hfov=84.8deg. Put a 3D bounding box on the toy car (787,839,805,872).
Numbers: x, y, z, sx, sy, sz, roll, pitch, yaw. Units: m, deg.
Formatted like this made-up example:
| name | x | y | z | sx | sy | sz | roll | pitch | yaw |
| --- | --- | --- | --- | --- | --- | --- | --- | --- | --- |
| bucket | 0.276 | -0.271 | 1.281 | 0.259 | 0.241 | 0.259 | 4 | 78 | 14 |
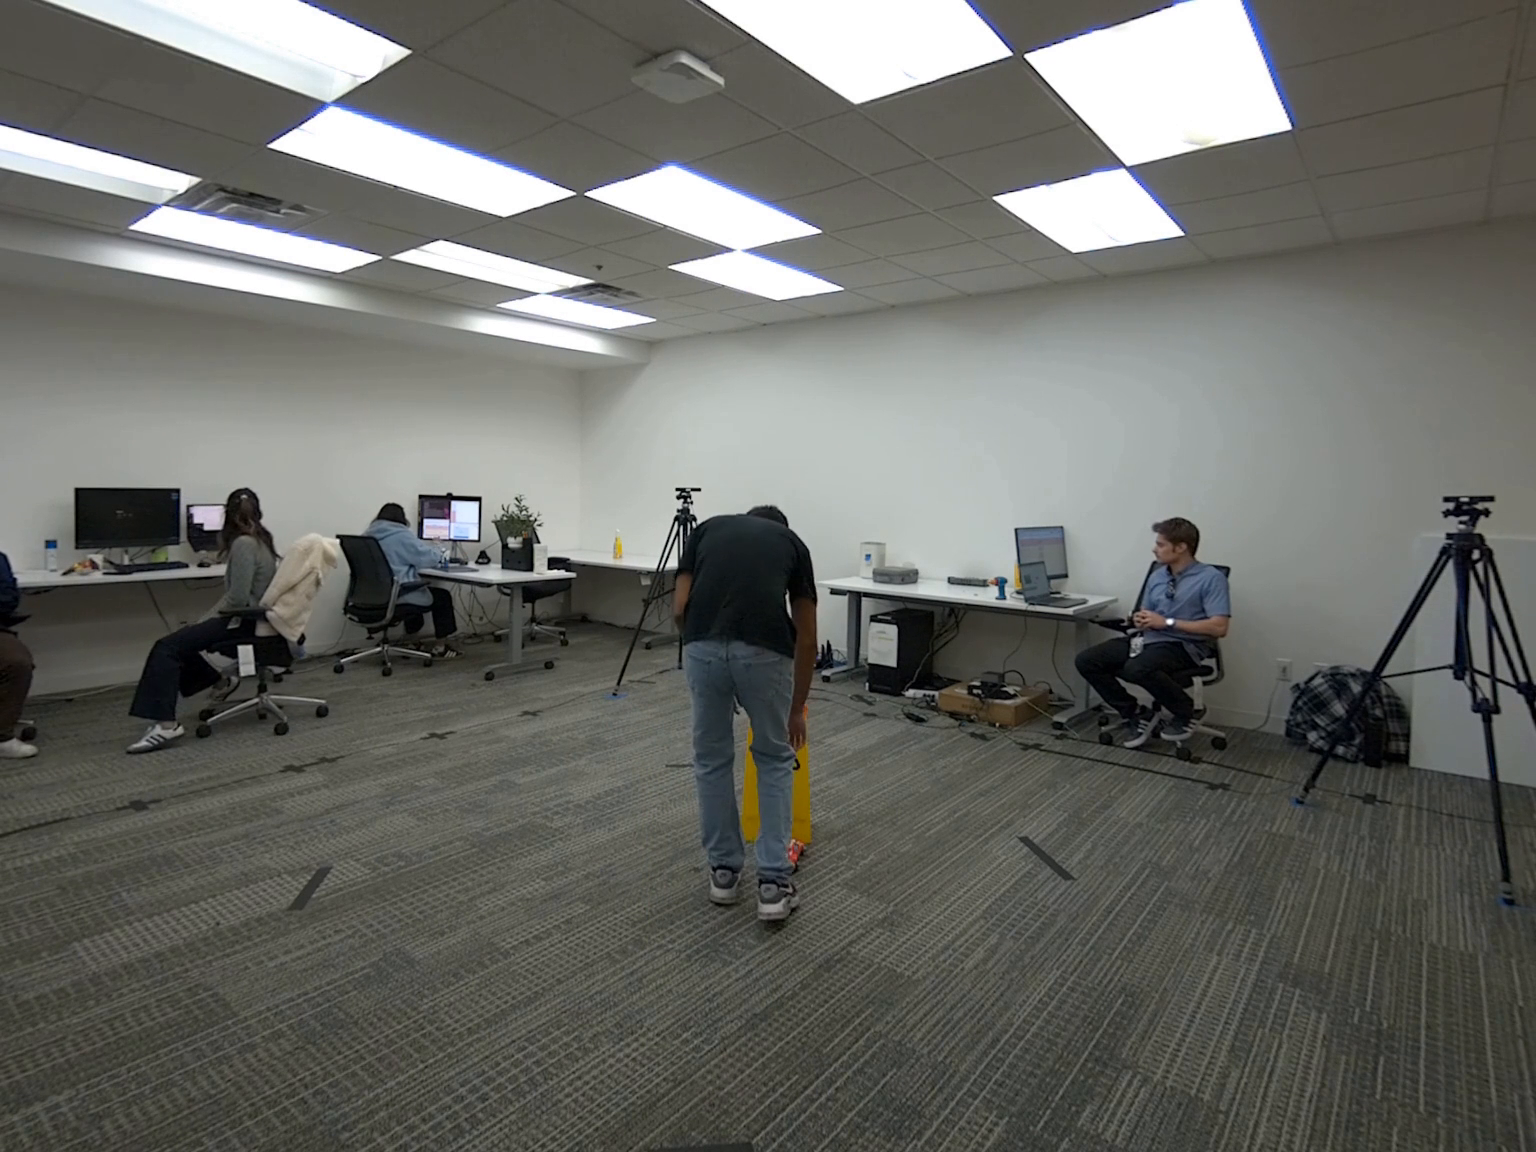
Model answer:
| name | x | y | z | sx | sy | sz | roll | pitch | yaw |
| --- | --- | --- | --- | --- | --- | --- | --- | --- | --- |
| toy car | 0.060 | 1.035 | 3.173 | 0.132 | 0.084 | 0.249 | 3 | -6 | 12 |
